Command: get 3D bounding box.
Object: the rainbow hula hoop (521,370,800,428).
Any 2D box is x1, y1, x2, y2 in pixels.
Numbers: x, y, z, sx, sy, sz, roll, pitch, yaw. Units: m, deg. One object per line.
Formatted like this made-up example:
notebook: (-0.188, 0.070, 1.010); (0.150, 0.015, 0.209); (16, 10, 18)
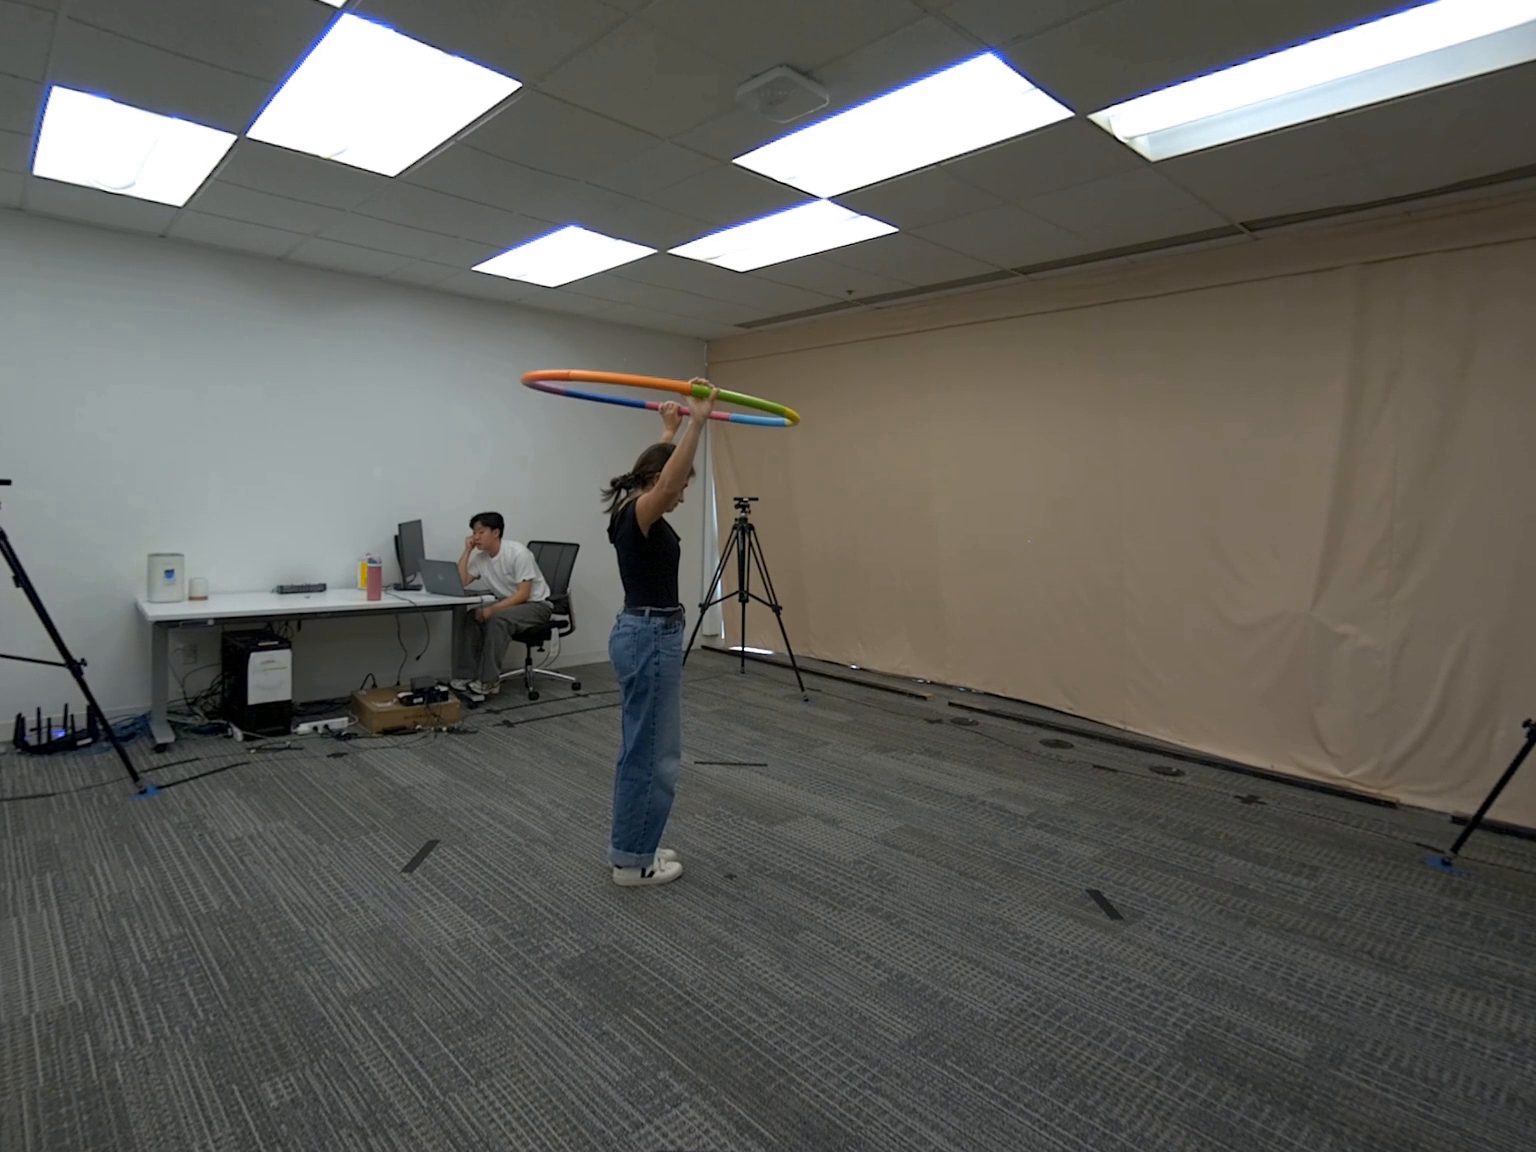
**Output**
rainbow hula hoop: (-0.379, -0.618, 2.972); (0.977, 0.035, 0.983); (8, 6, -2)
